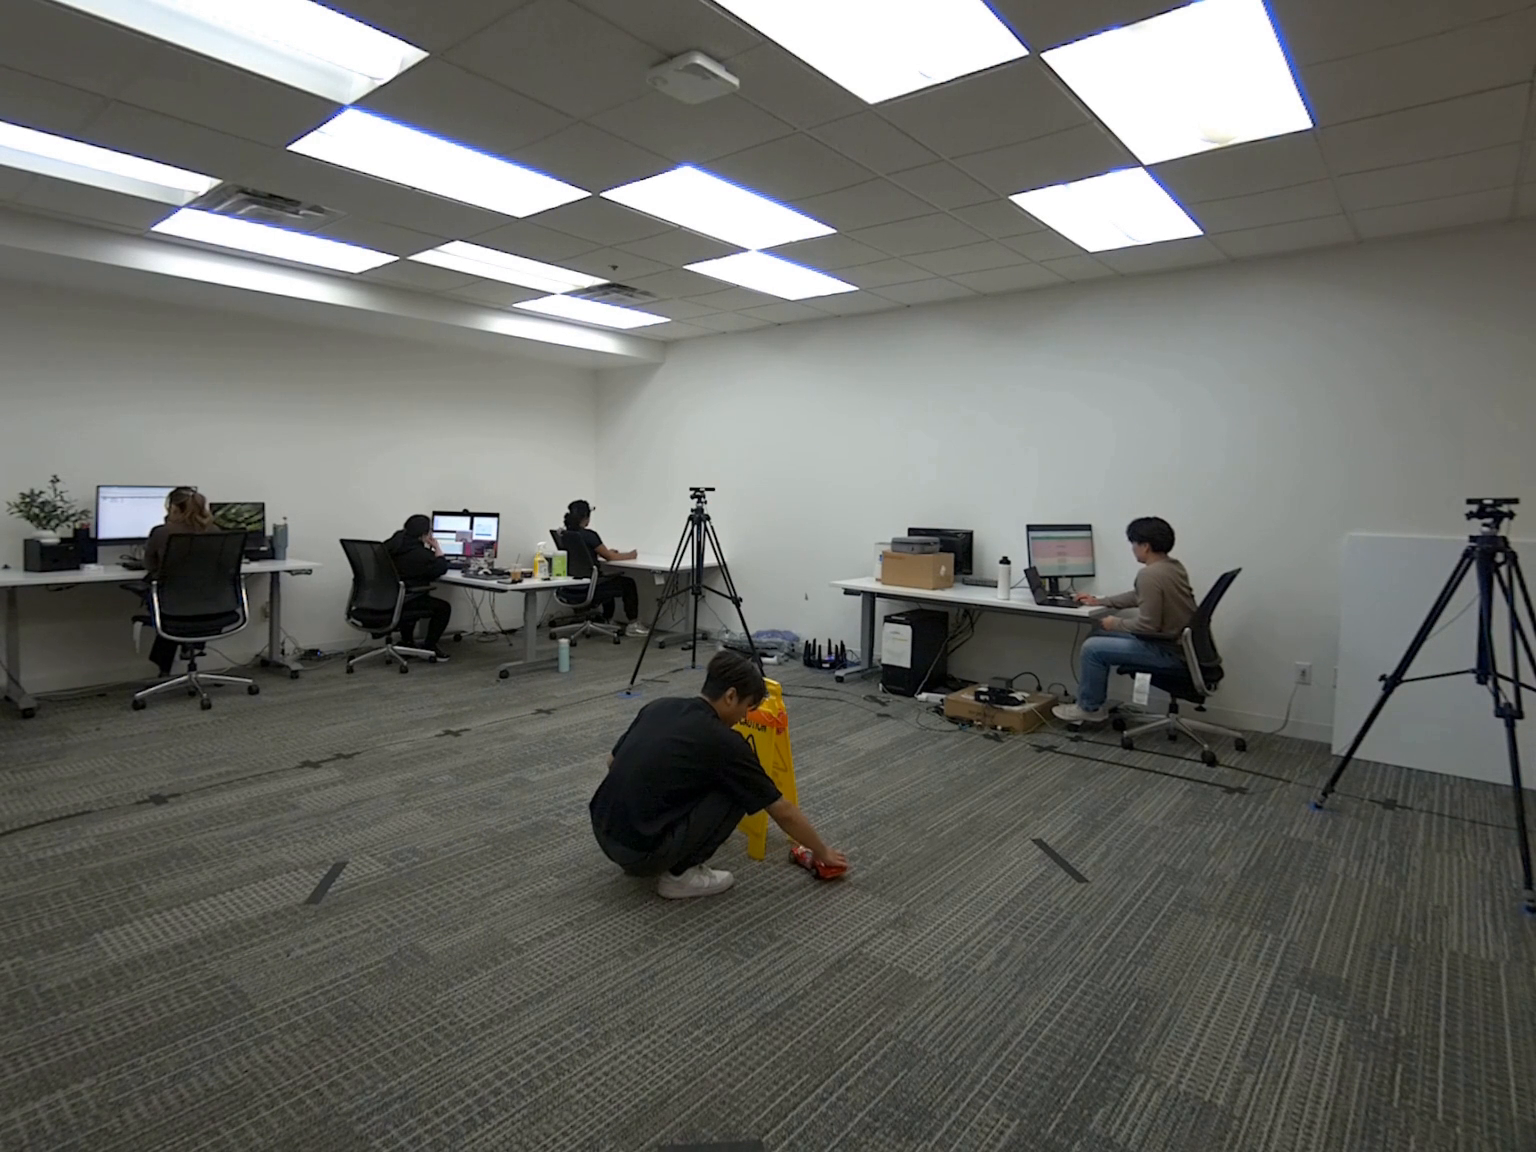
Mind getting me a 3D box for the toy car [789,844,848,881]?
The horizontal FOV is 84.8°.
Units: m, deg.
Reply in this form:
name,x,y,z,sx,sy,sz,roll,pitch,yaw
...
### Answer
name,x,y,z,sx,sy,sz,roll,pitch,yaw
toy car,0.175,1.049,3.112,0.127,0.083,0.260,0,-4,-31
